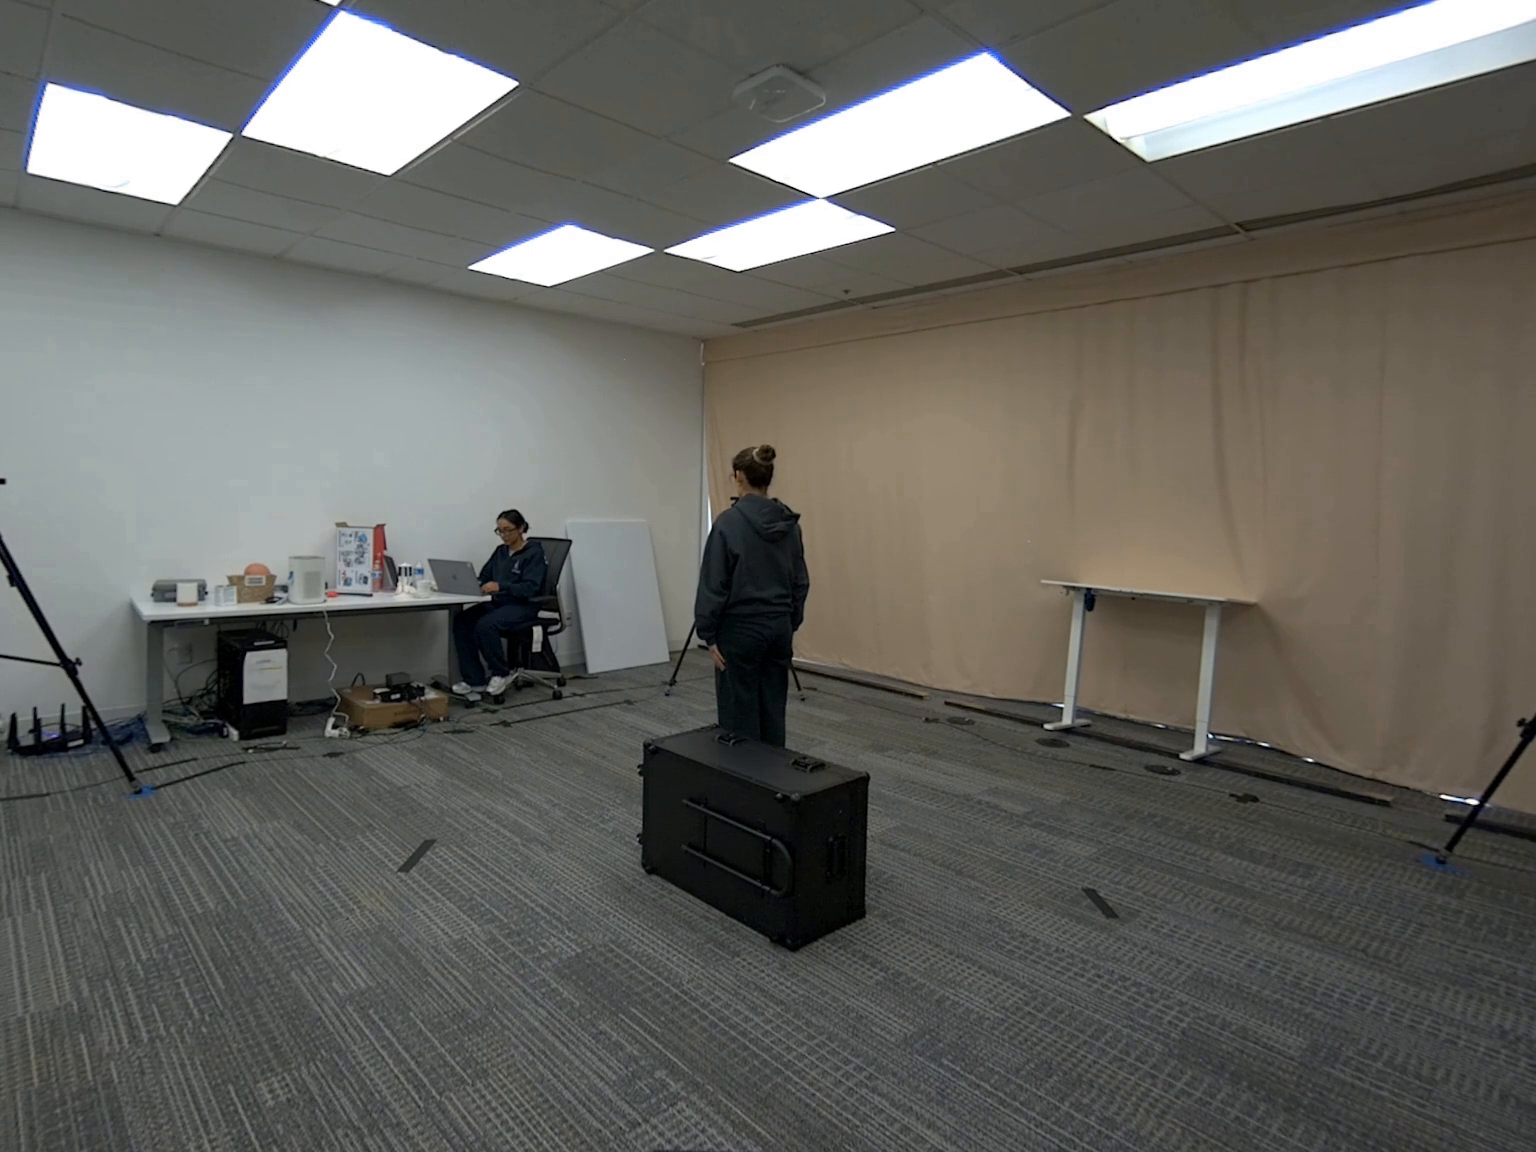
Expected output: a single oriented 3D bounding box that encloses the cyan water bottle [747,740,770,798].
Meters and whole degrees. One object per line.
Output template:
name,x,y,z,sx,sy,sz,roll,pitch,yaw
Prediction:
cyan water bottle,-0.049,0.890,4.016,0.092,0.283,0.092,2,2,-1
